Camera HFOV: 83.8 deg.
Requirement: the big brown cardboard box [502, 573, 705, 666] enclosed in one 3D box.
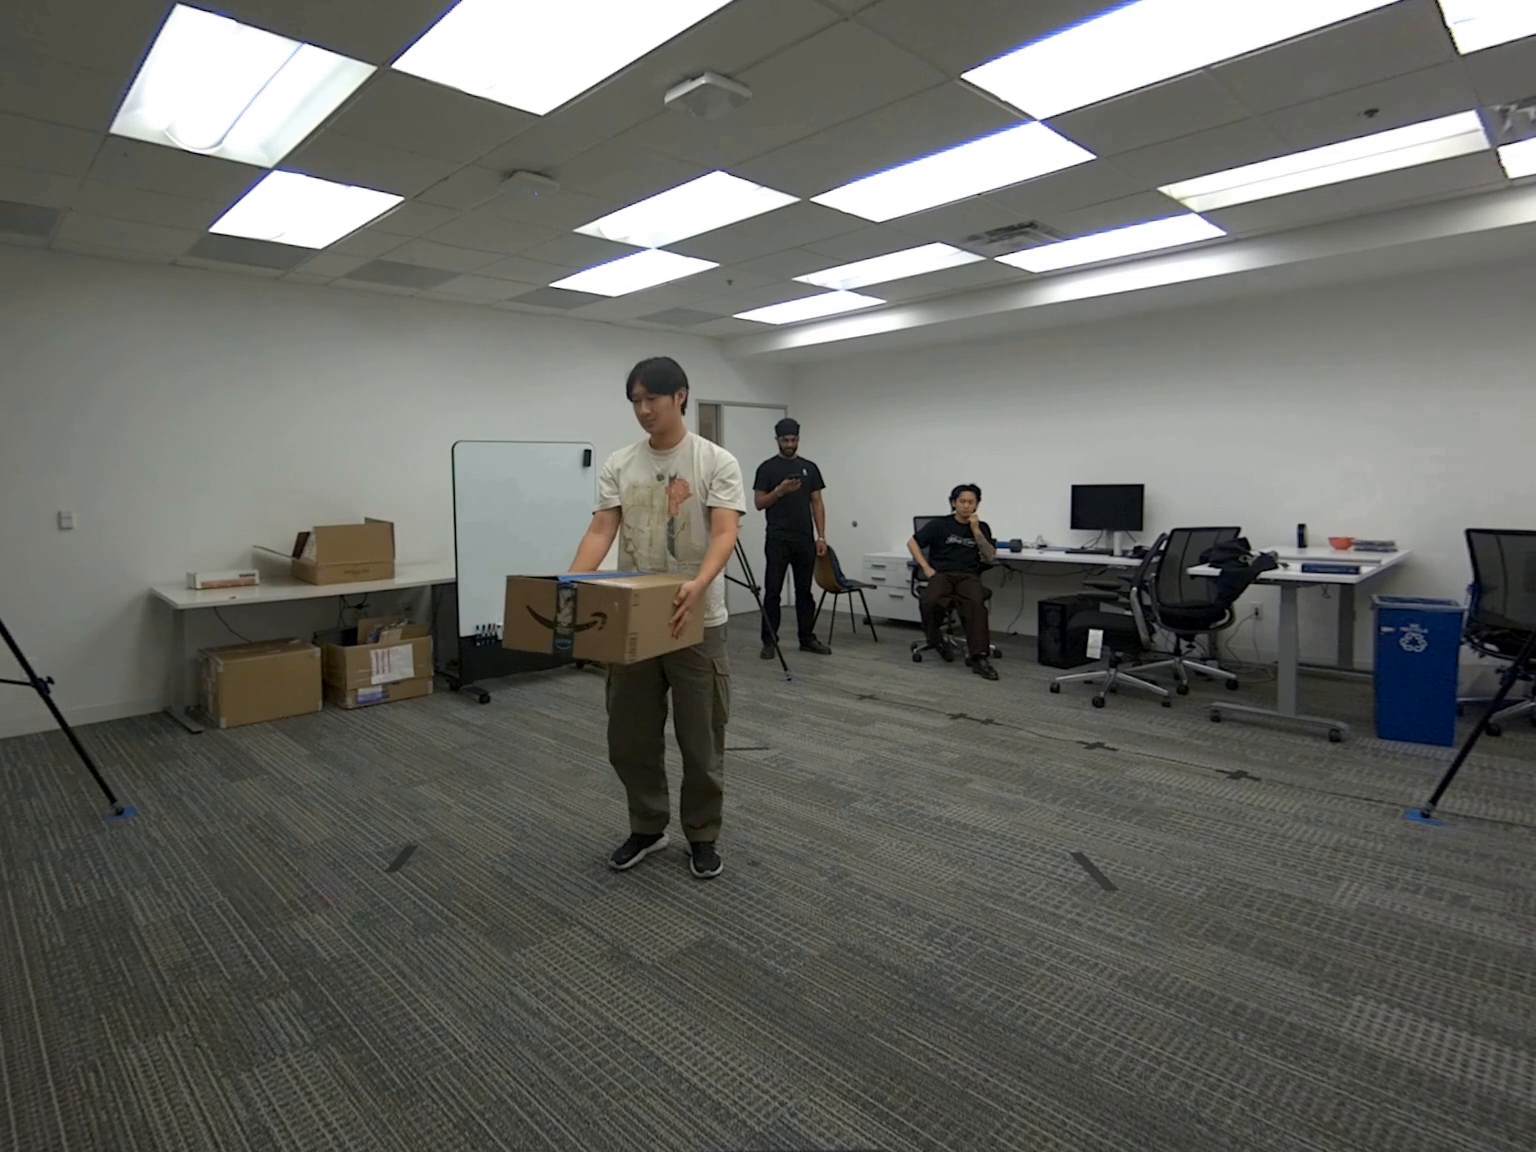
[{"bbox_3d":[-0.501,0.109,2.695,0.426,0.233,0.578,4,2,19],"label":"big brown cardboard box"}]
